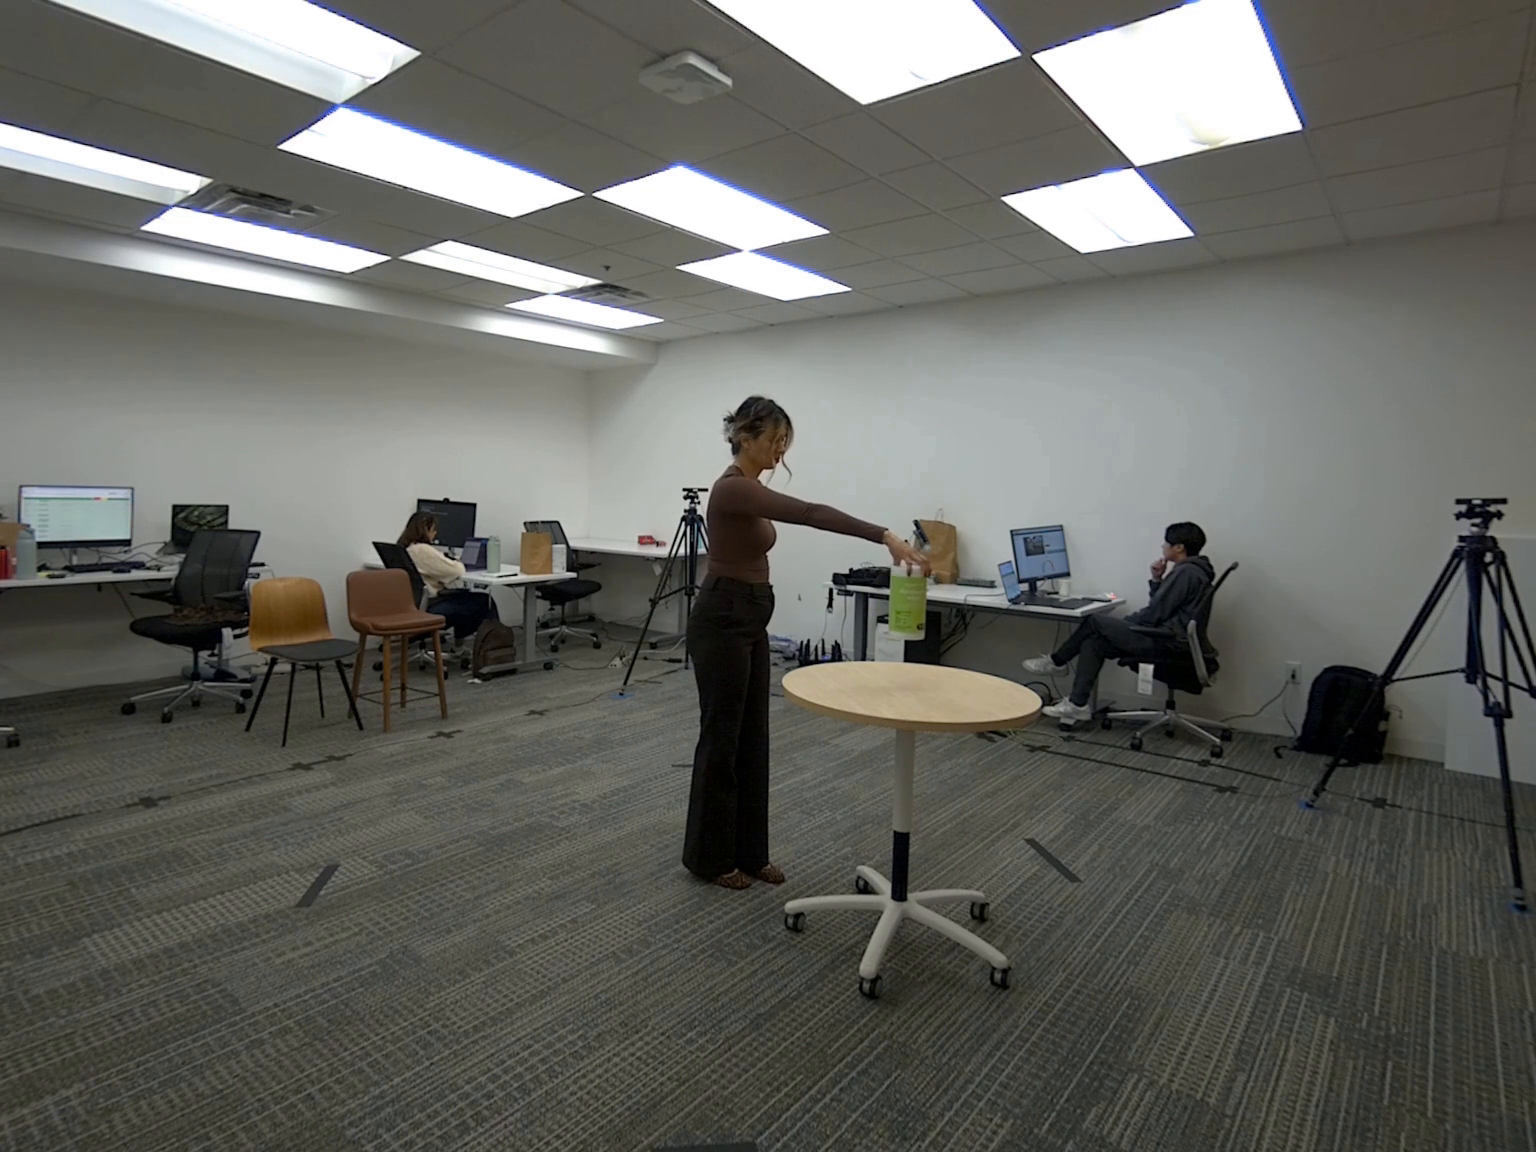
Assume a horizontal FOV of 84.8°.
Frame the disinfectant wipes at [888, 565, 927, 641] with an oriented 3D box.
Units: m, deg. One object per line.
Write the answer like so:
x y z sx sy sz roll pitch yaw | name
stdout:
0.417 0.078 2.565 0.118 0.217 0.118 1 3 -2 | disinfectant wipes
